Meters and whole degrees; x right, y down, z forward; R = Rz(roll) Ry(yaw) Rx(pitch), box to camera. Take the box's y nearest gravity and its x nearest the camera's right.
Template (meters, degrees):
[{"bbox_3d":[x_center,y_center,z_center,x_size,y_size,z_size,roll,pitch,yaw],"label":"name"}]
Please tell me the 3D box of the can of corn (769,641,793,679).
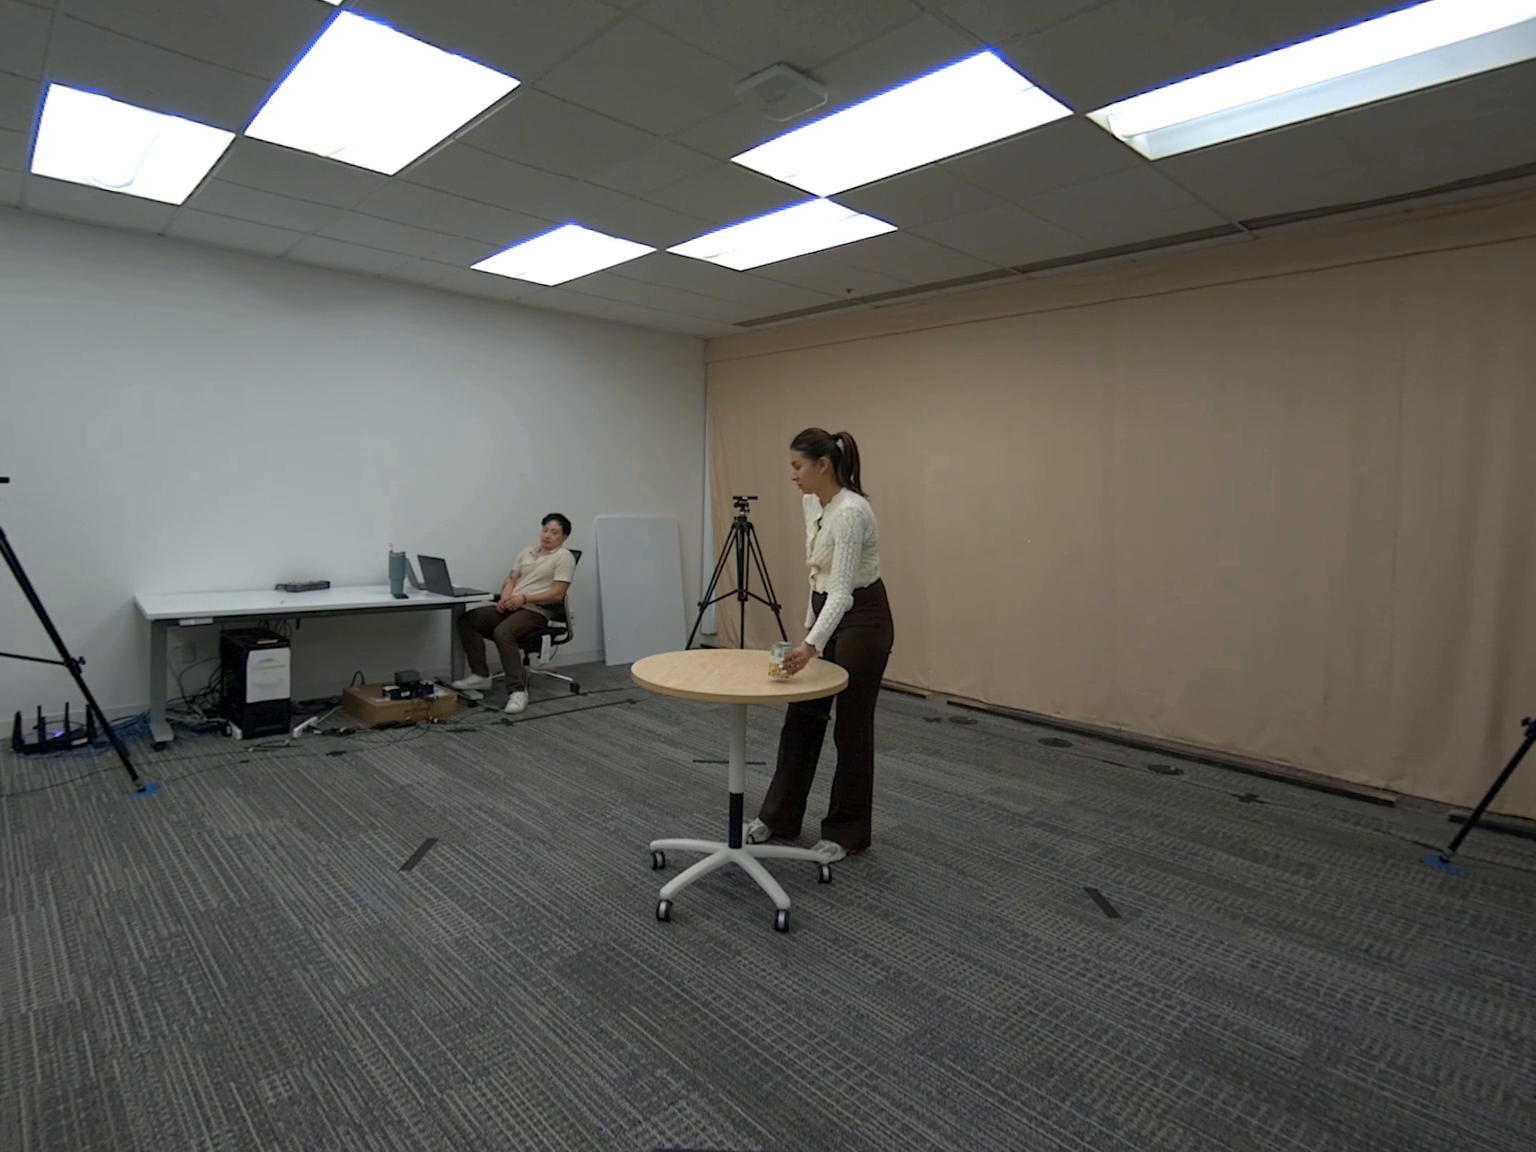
[{"bbox_3d":[0.033,0.279,2.804,0.074,0.111,0.074,5,0,-1],"label":"can of corn"}]
